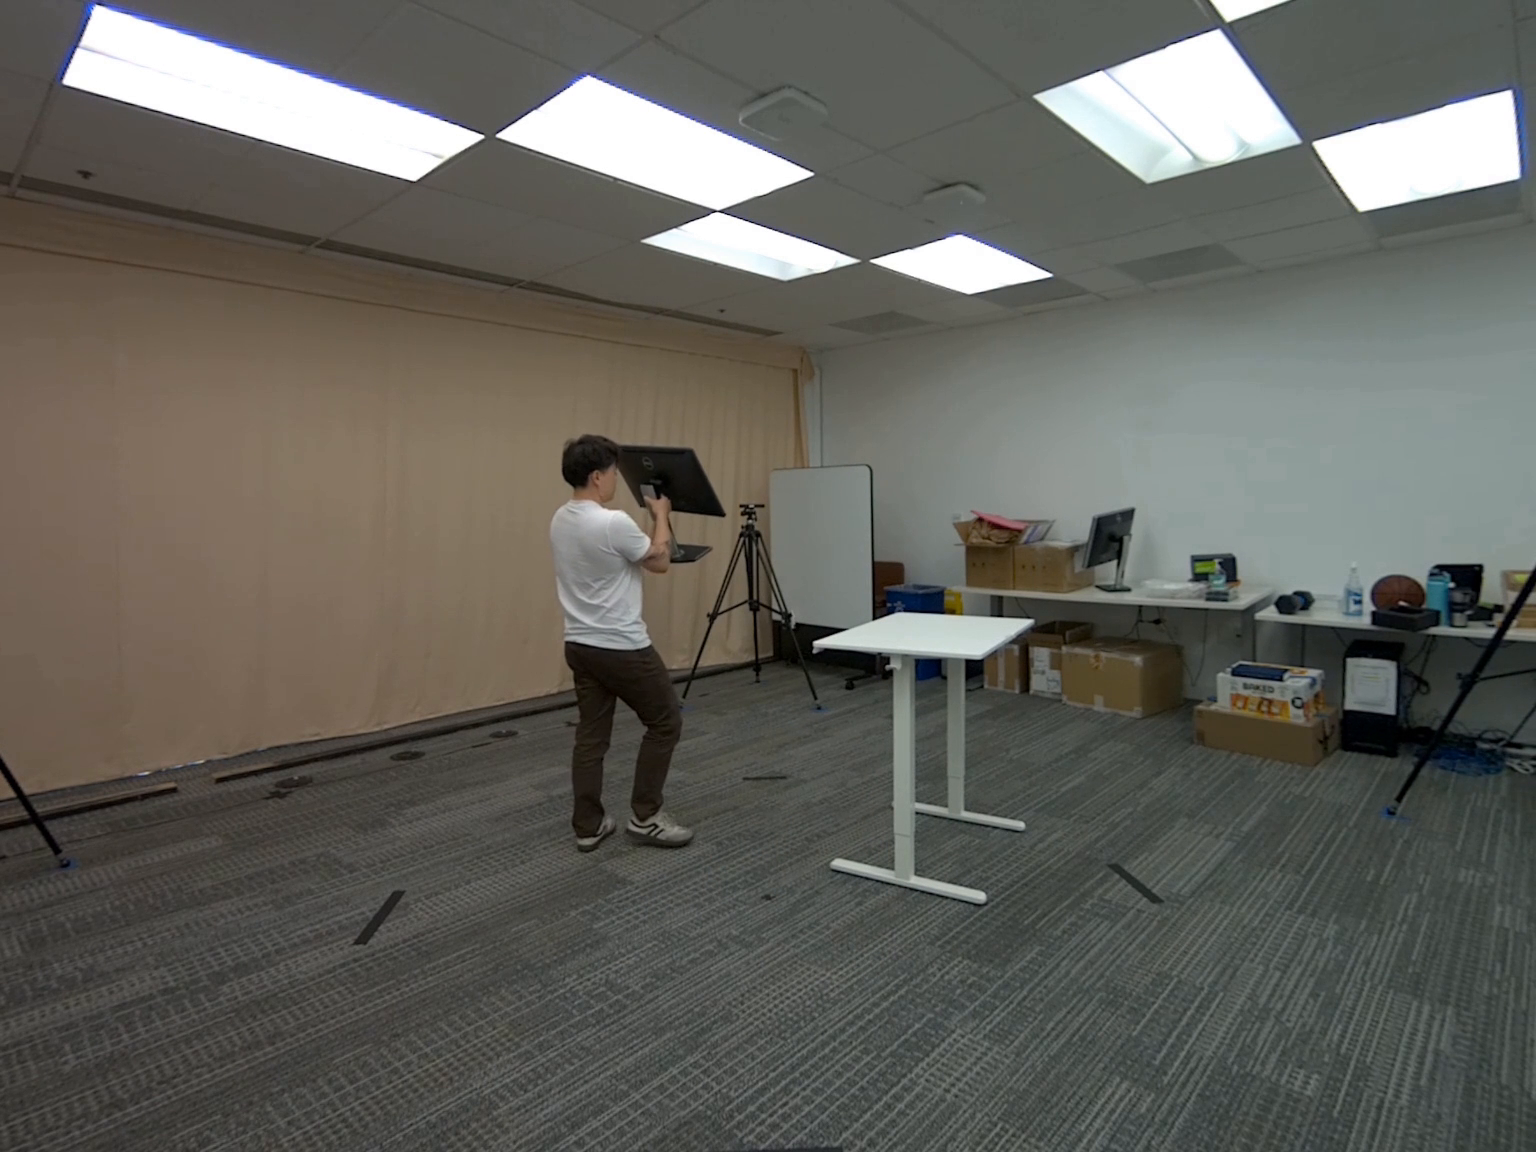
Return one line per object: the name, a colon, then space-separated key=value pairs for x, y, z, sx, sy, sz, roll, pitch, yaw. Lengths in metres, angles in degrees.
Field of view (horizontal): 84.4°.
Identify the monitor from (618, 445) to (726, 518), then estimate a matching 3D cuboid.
monitor: x=-0.445 y=-0.317 z=3.625 sx=0.557 sy=0.512 sz=0.184 roll=8 pitch=33 yaw=40
